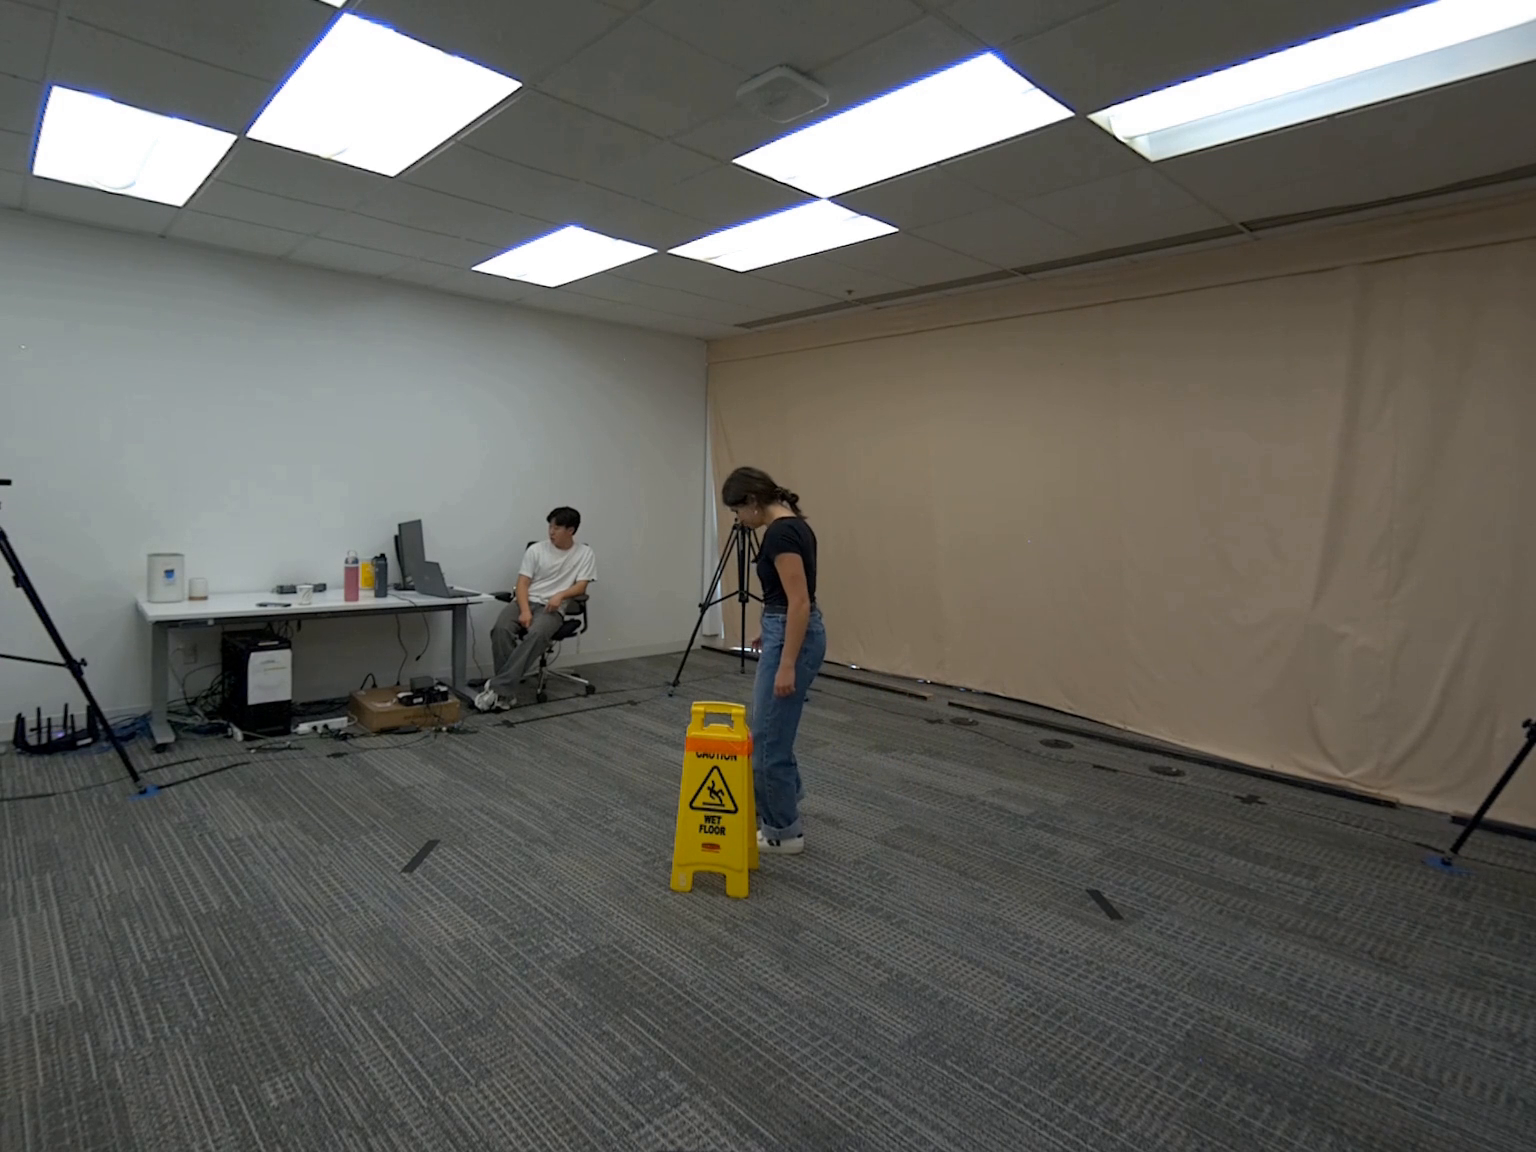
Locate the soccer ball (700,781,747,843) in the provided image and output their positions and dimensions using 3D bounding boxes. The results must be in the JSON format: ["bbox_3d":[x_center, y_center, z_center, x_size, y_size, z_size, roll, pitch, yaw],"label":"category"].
[{"bbox_3d":[-0.188,0.983,3.547,0.187,0.187,0.188,1,4,-1],"label":"soccer ball"}]
